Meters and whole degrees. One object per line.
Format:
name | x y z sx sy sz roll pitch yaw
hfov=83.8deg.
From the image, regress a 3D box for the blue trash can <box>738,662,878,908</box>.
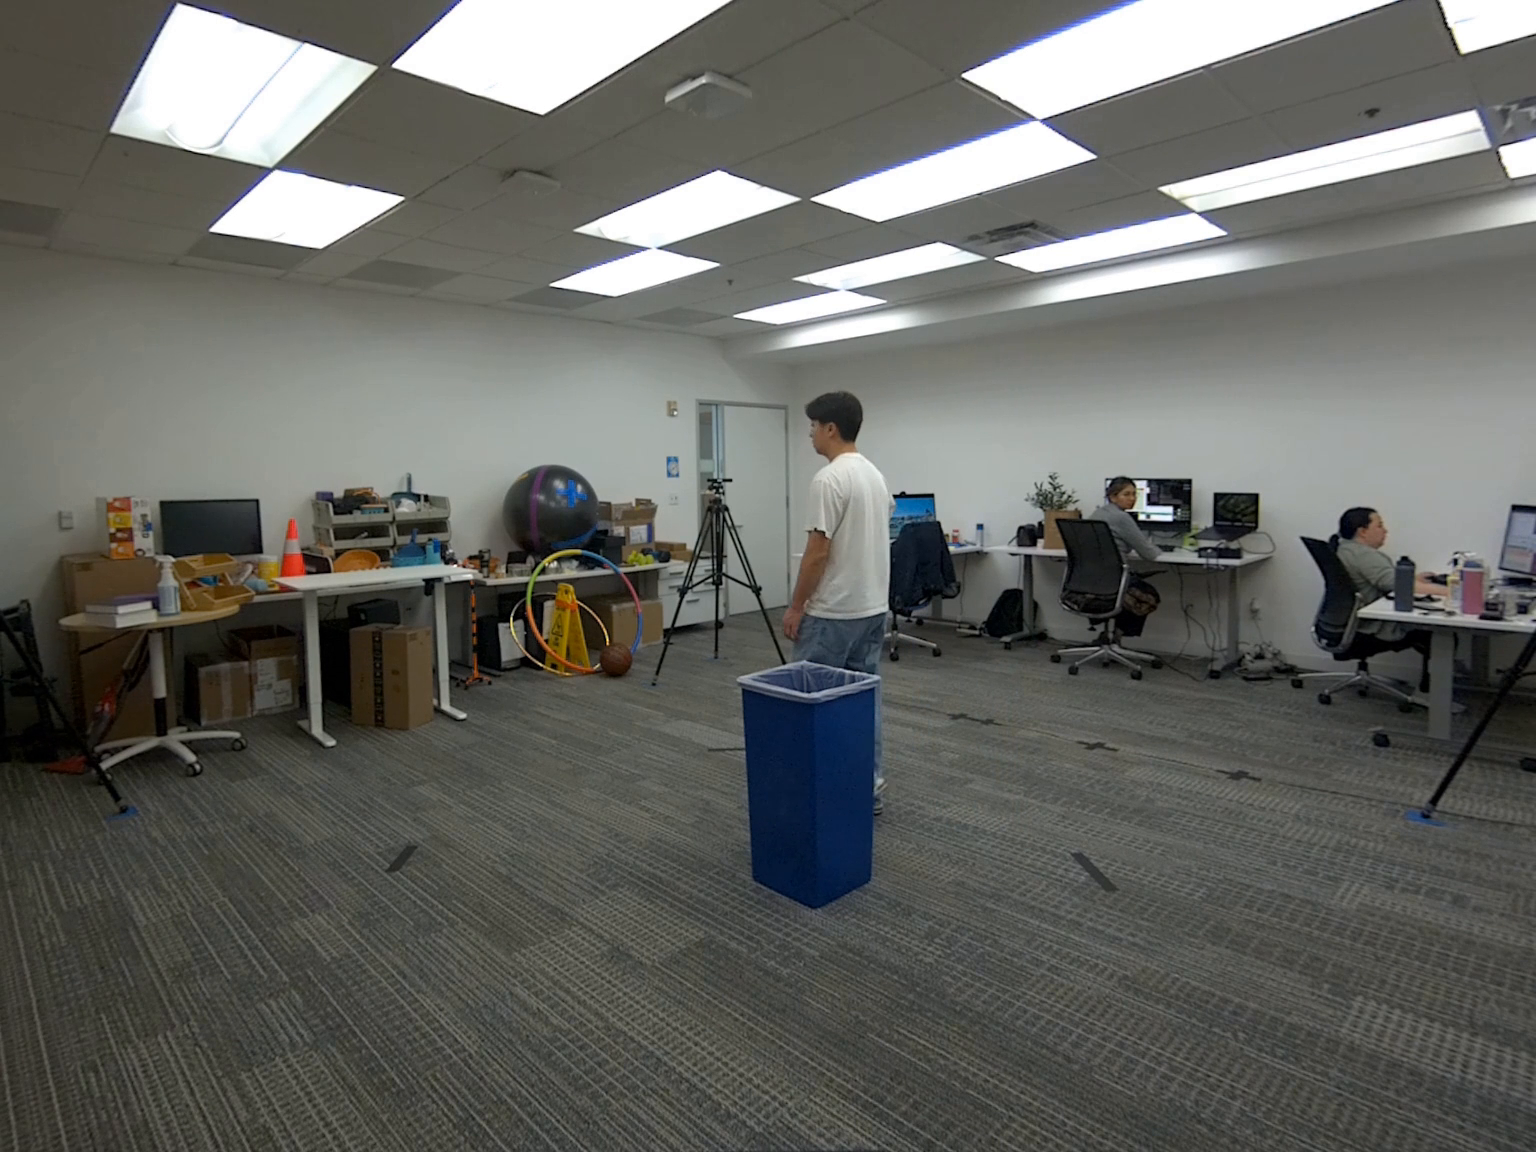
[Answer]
blue trash can | 0.145 0.702 2.941 0.364 0.711 0.389 -4 5 -44
